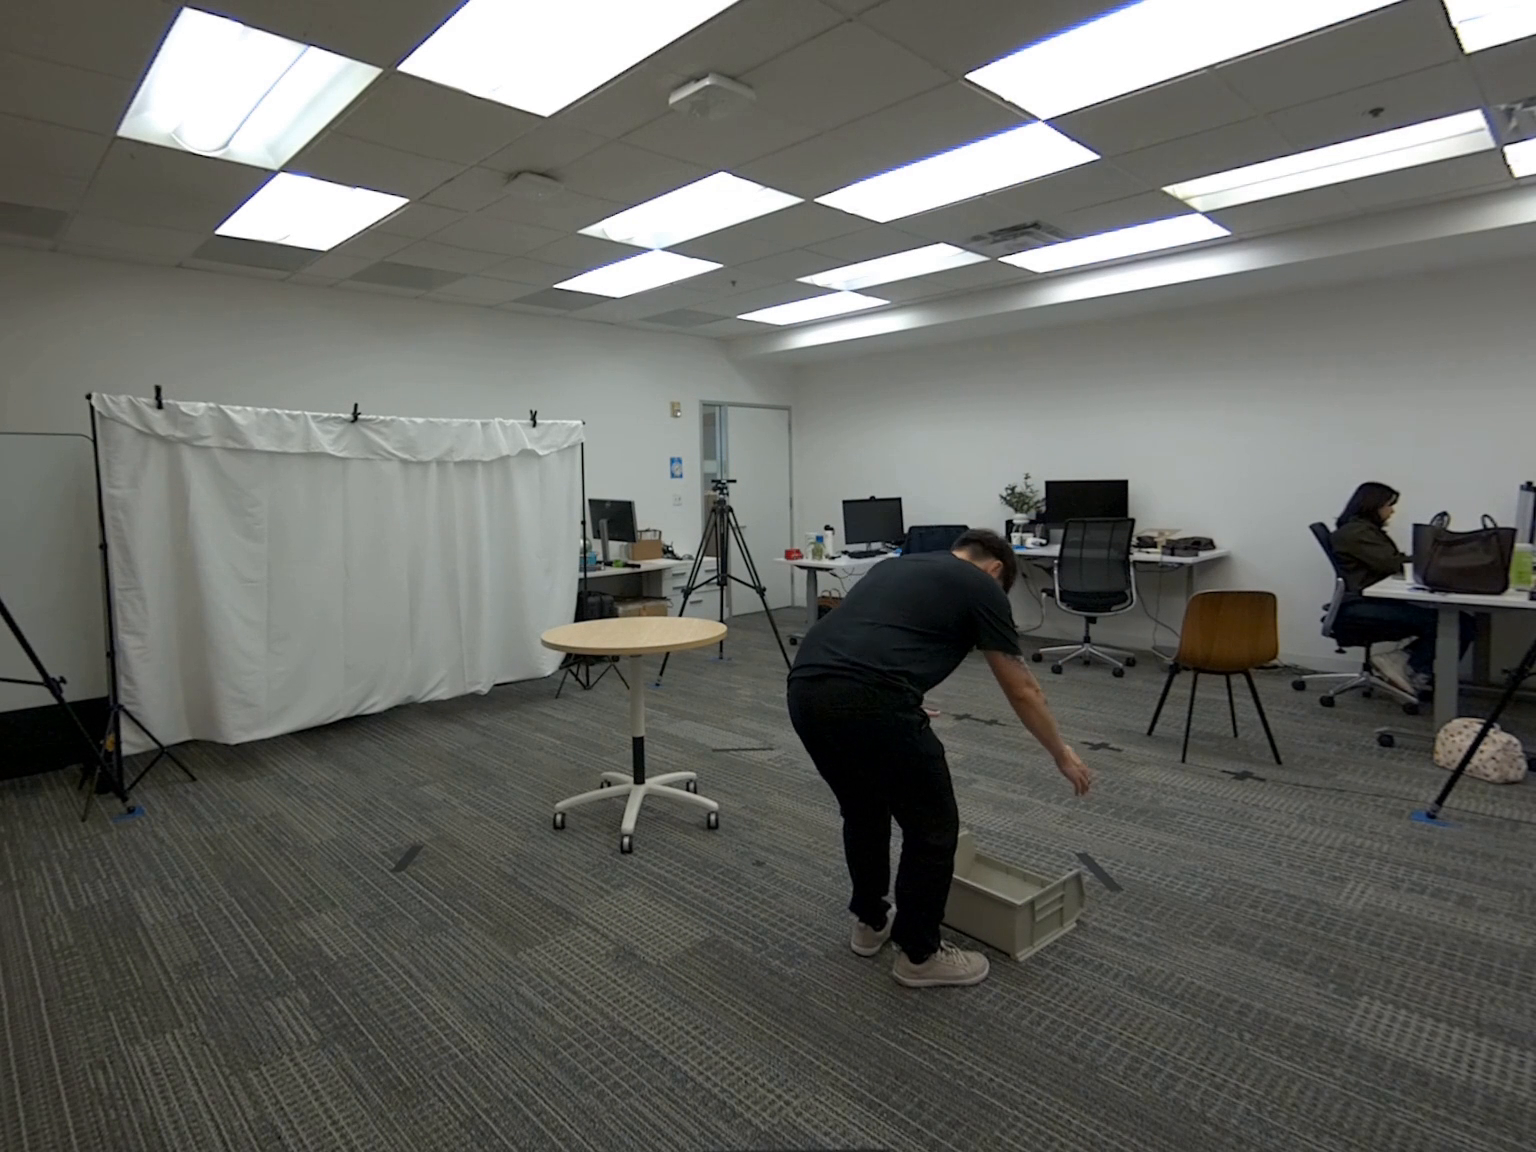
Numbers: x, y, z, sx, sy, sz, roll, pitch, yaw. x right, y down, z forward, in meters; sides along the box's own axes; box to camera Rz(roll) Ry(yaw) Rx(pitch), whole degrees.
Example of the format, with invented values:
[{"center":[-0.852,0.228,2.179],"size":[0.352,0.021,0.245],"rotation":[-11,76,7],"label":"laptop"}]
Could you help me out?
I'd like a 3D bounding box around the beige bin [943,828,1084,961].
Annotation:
[{"center":[0.717,0.989,2.706],"size":[0.368,0.188,0.435],"rotation":[-7,8,-40],"label":"beige bin"}]
